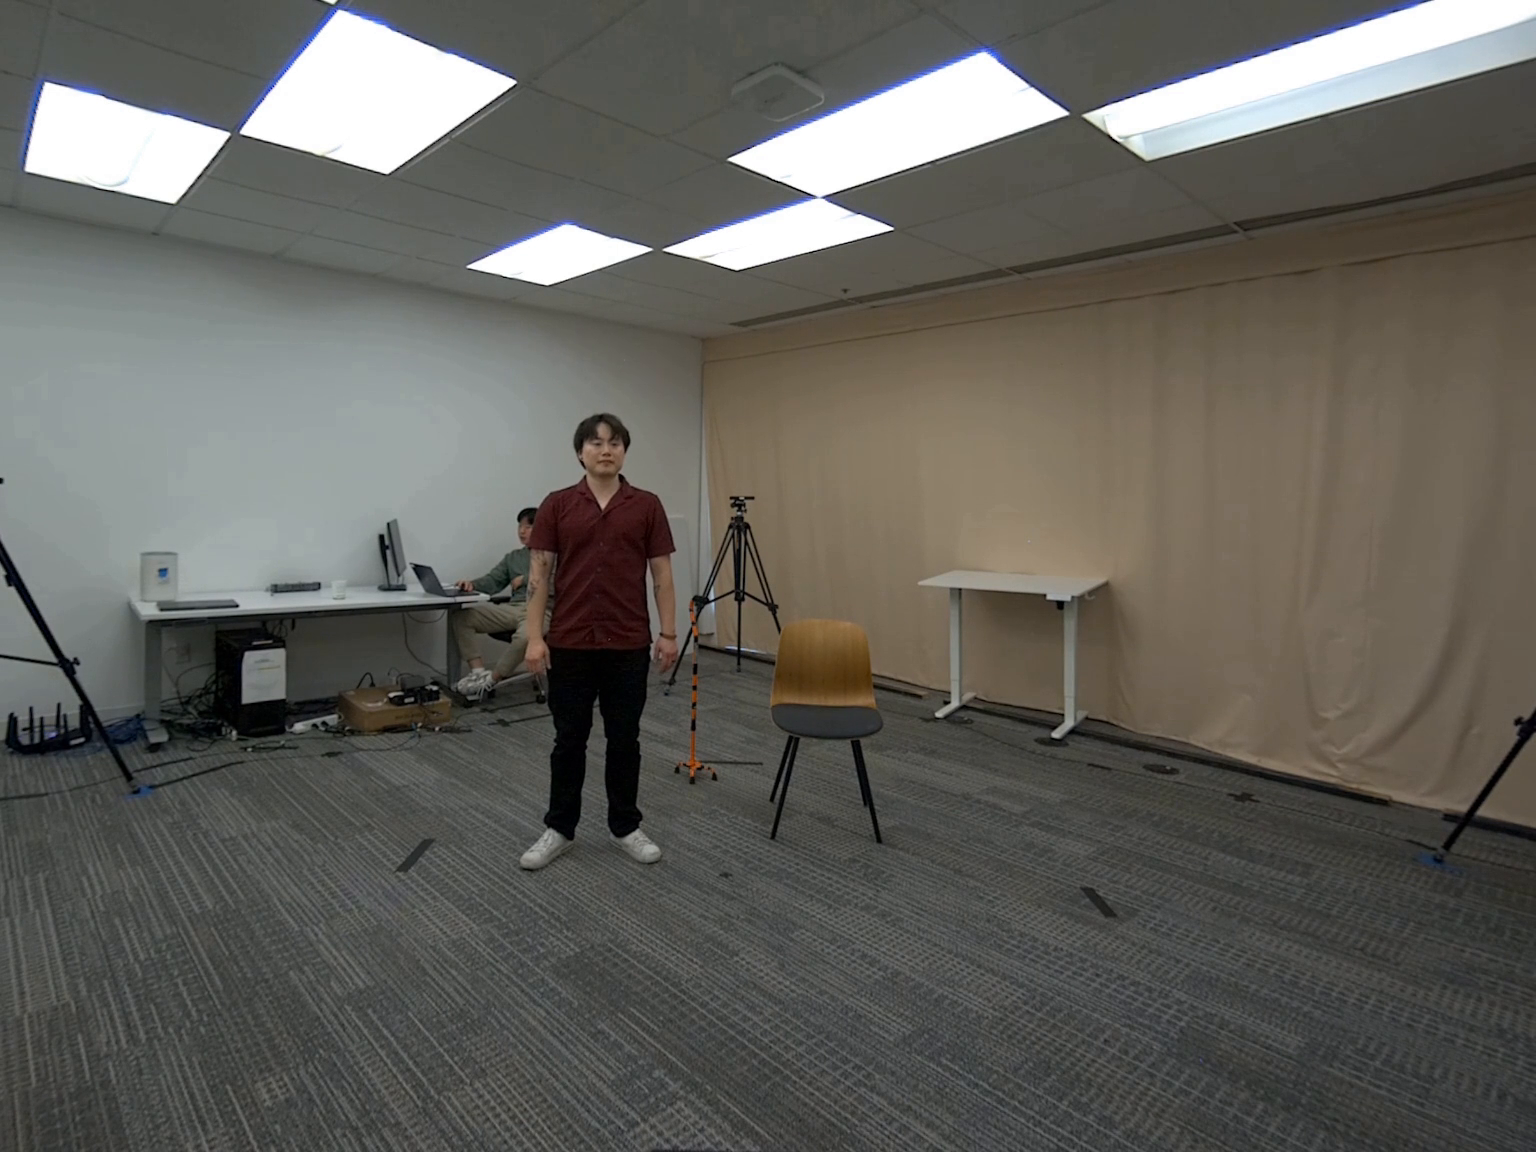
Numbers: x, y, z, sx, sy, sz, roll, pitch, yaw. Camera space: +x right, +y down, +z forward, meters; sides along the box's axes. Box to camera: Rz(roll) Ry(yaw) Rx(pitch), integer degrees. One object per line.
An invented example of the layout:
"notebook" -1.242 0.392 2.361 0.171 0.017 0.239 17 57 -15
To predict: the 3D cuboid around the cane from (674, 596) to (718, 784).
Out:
"cane" -0.363 0.554 4.191 0.148 0.905 0.211 -1 4 -30
